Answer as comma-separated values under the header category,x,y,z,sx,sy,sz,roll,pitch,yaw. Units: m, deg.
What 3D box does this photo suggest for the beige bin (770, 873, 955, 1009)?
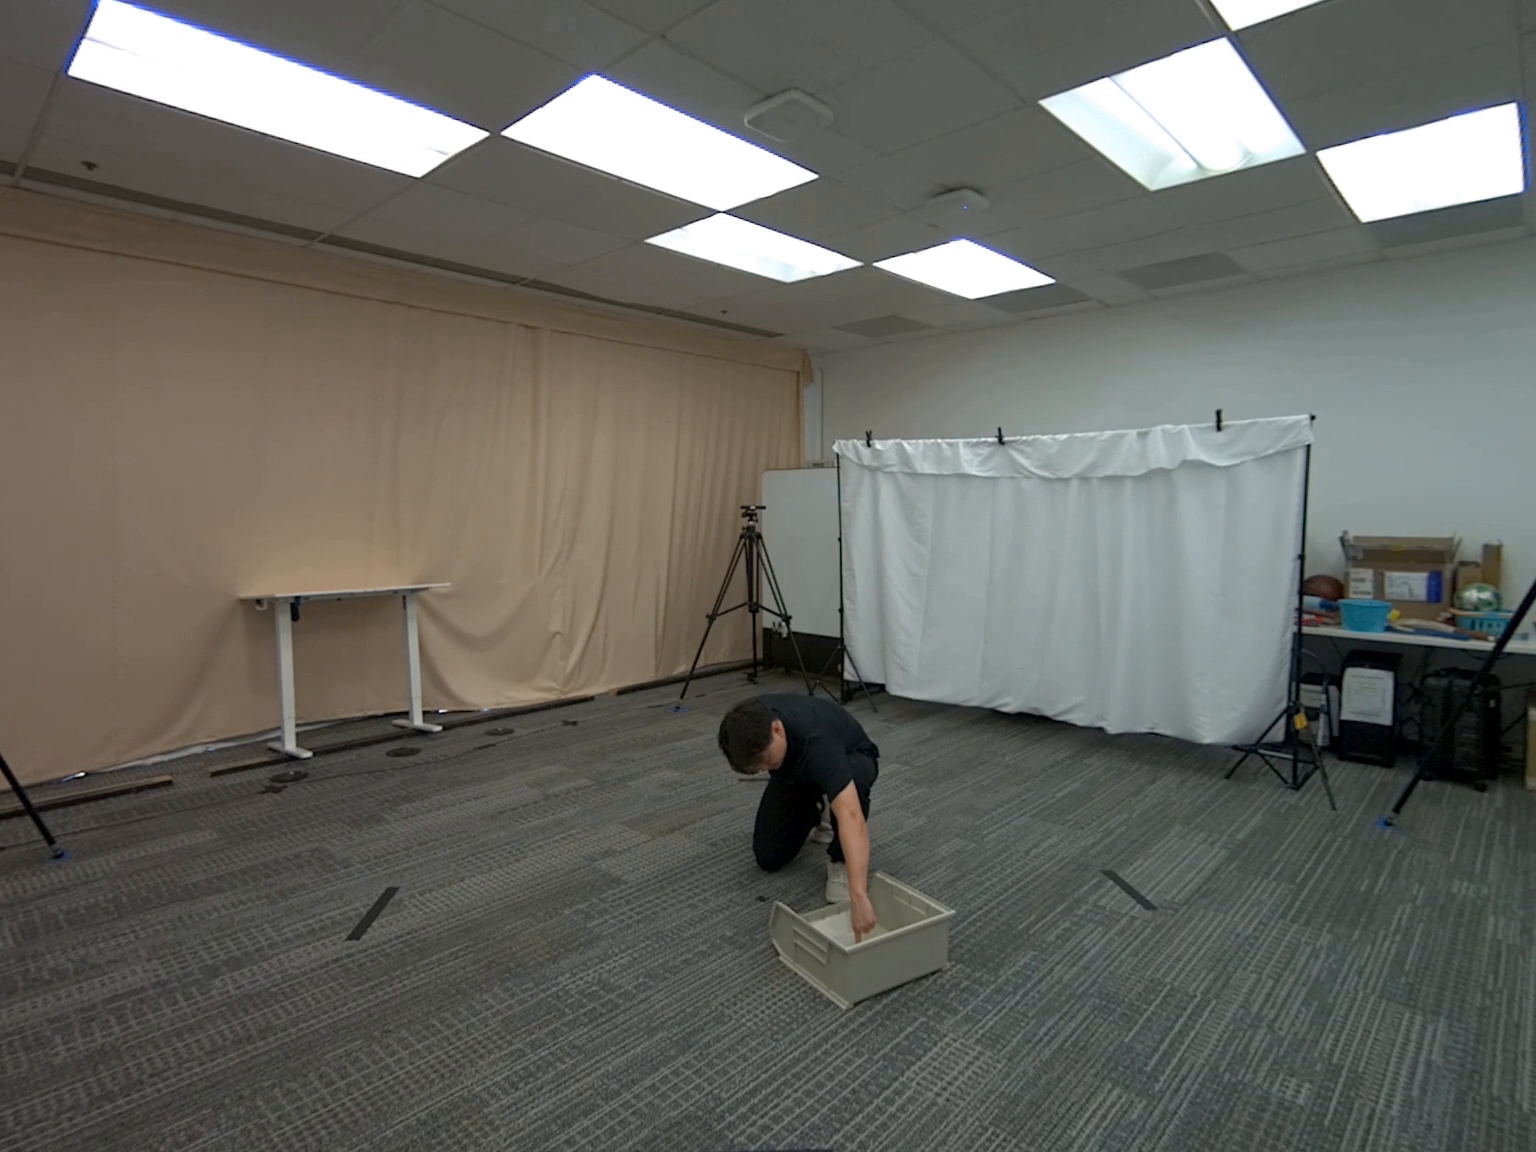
category,x,y,z,sx,sy,sz,roll,pitch,yaw
beige bin,0.279,1.082,2.574,0.410,0.188,0.389,-2,5,-33
